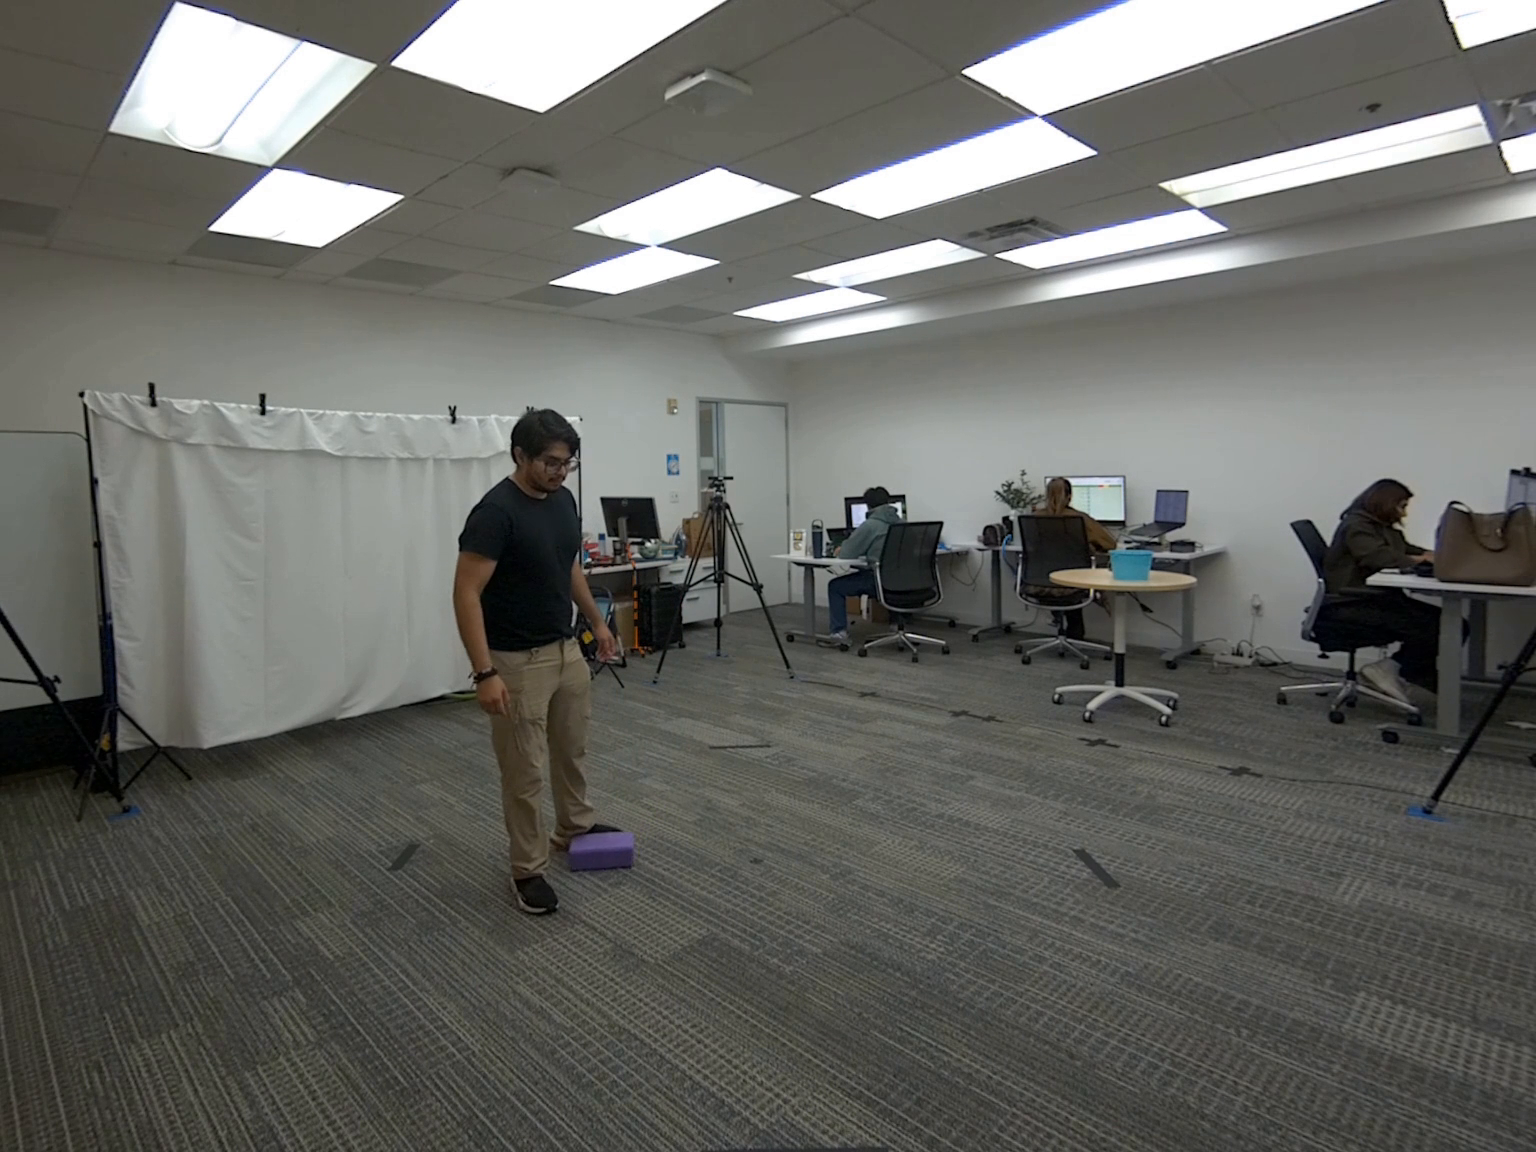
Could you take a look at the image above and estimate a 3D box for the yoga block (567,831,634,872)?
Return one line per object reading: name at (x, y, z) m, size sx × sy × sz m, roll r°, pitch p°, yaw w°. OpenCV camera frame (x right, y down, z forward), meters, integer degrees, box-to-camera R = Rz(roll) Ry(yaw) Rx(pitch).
yoga block at (-0.606, 1.007, 3.127) m, size 0.228 × 0.076 × 0.150 m, roll -2°, pitch 6°, yaw -5°
